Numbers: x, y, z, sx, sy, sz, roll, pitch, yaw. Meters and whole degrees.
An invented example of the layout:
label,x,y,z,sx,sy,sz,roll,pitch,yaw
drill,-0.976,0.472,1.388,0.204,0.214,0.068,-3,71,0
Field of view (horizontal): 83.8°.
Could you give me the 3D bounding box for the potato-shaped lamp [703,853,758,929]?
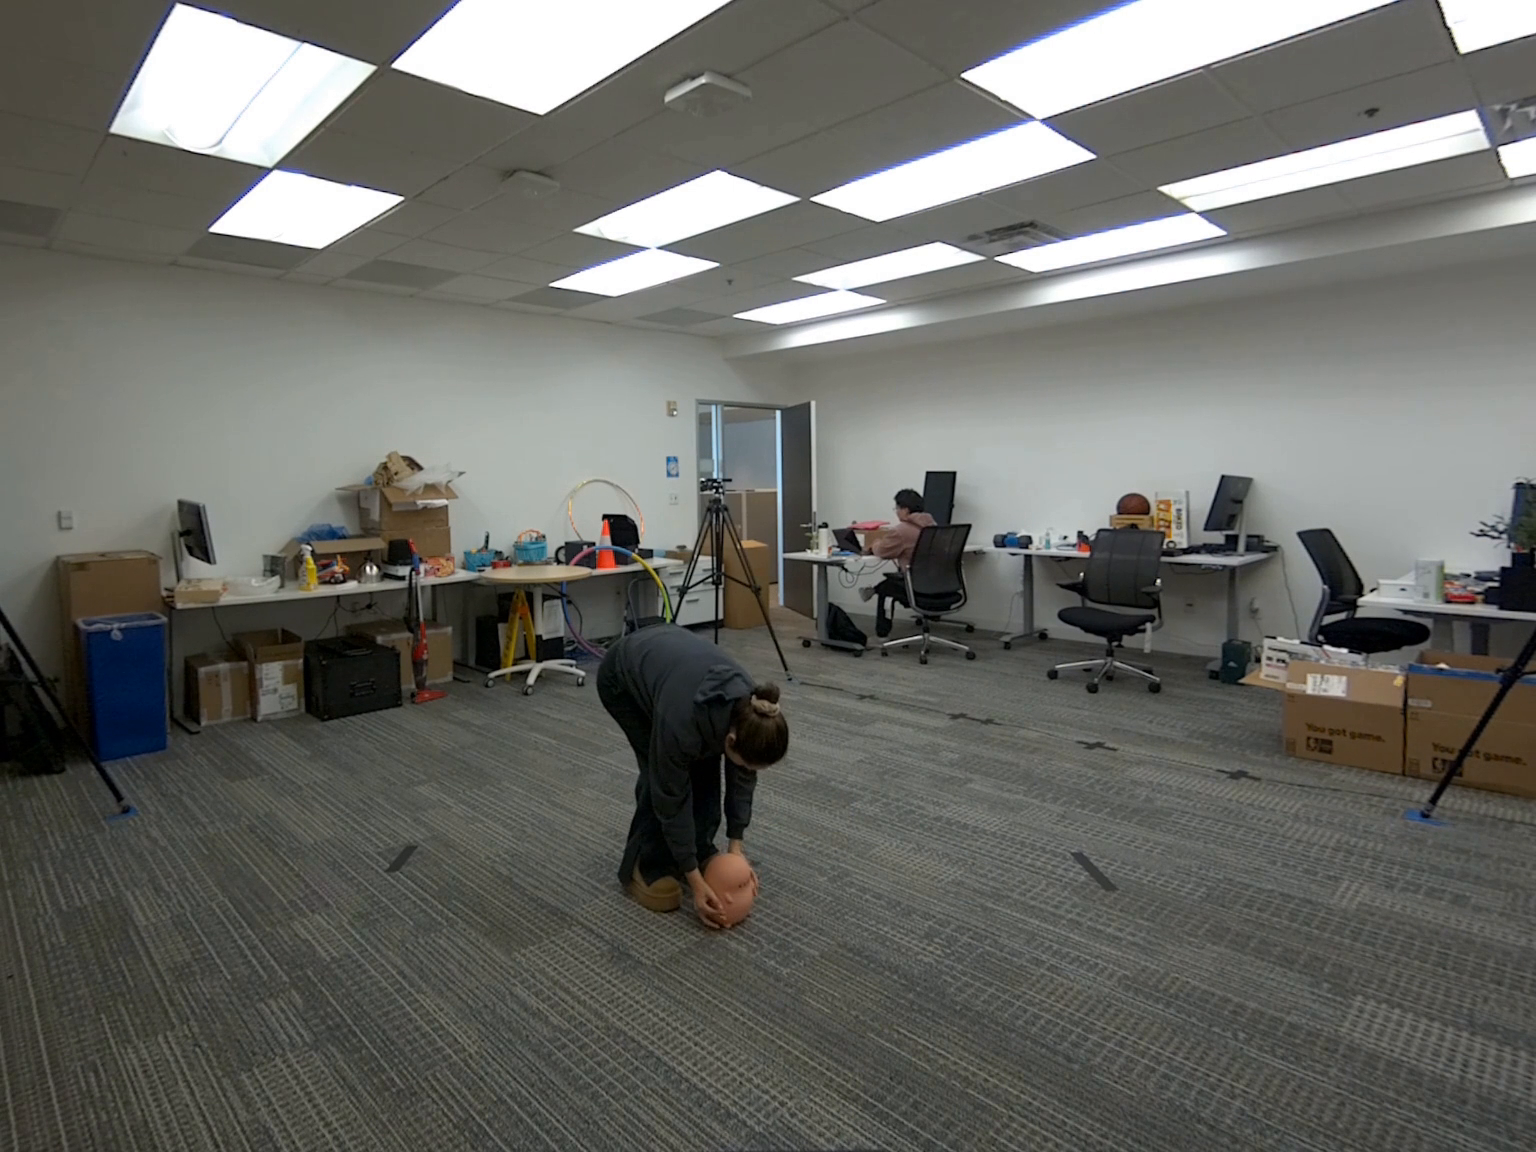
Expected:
label,x,y,z,sx,sy,sz,roll,pitch,yaw
potato-shaped lamp,-0.128,0.980,2.703,0.178,0.196,0.160,23,18,37
